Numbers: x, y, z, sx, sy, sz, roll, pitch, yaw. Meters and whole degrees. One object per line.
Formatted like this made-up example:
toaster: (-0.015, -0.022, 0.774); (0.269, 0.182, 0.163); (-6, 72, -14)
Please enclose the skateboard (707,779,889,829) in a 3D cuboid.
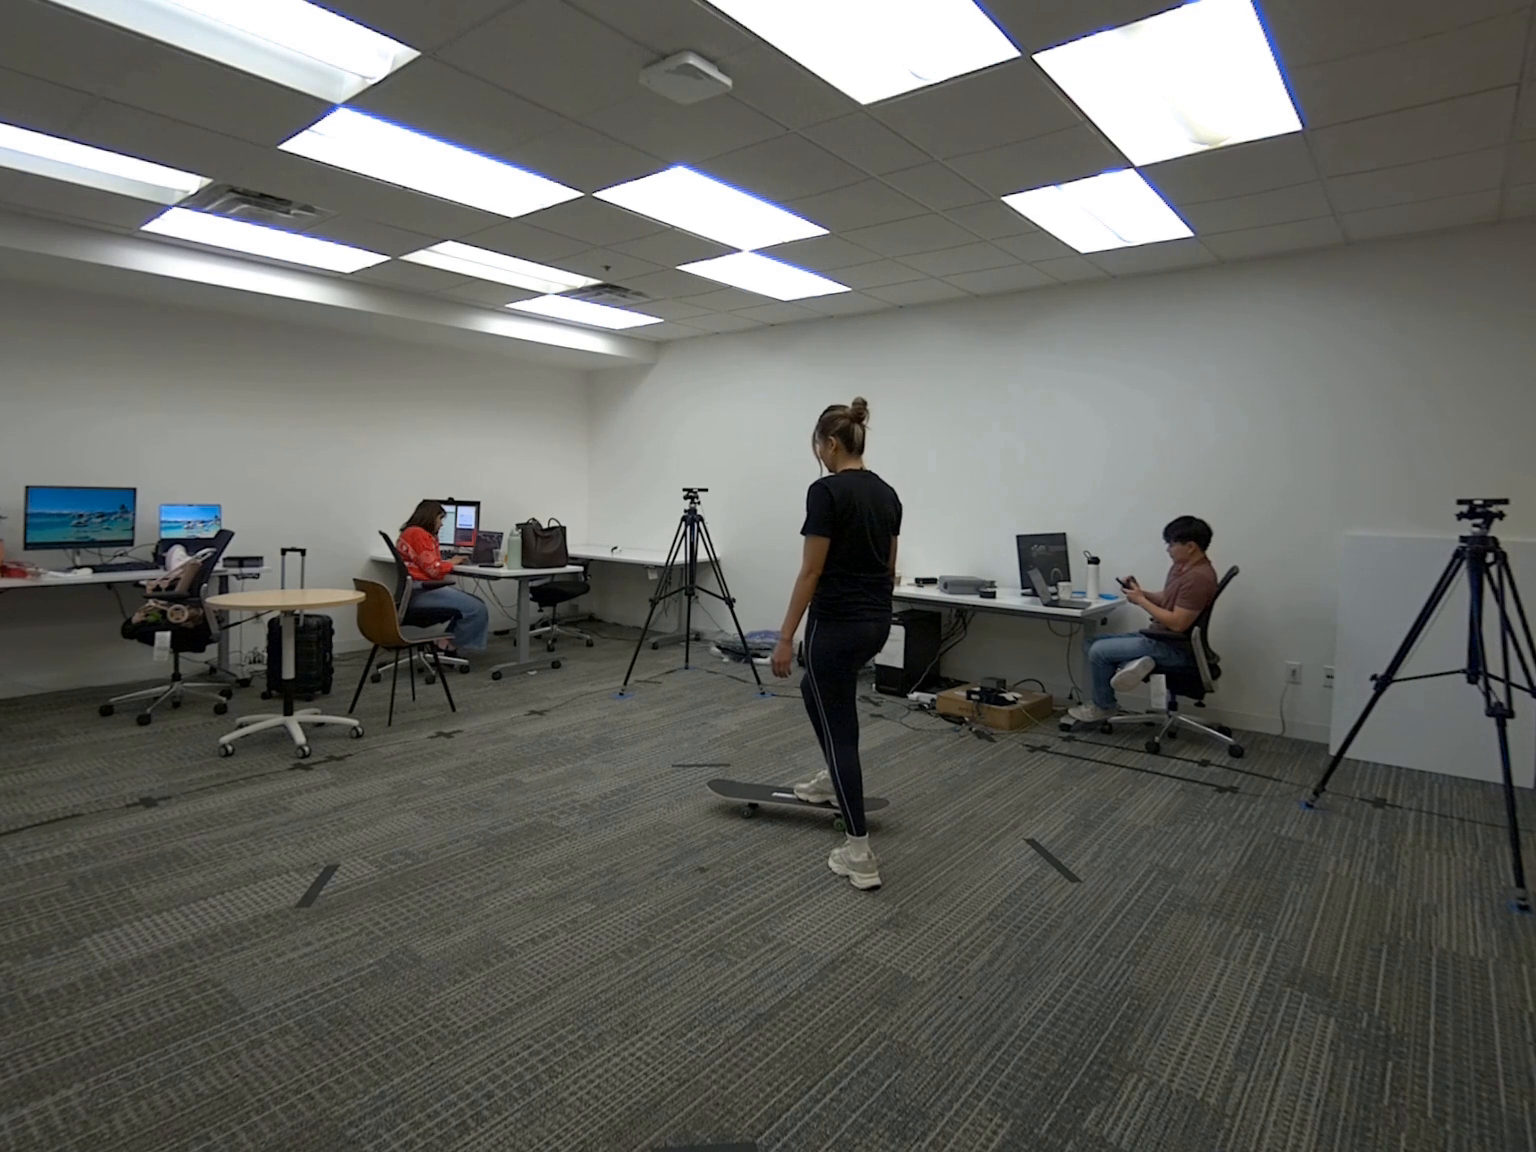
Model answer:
skateboard: (0.106, 0.968, 3.623); (0.798, 0.110, 0.191); (3, 5, 14)
